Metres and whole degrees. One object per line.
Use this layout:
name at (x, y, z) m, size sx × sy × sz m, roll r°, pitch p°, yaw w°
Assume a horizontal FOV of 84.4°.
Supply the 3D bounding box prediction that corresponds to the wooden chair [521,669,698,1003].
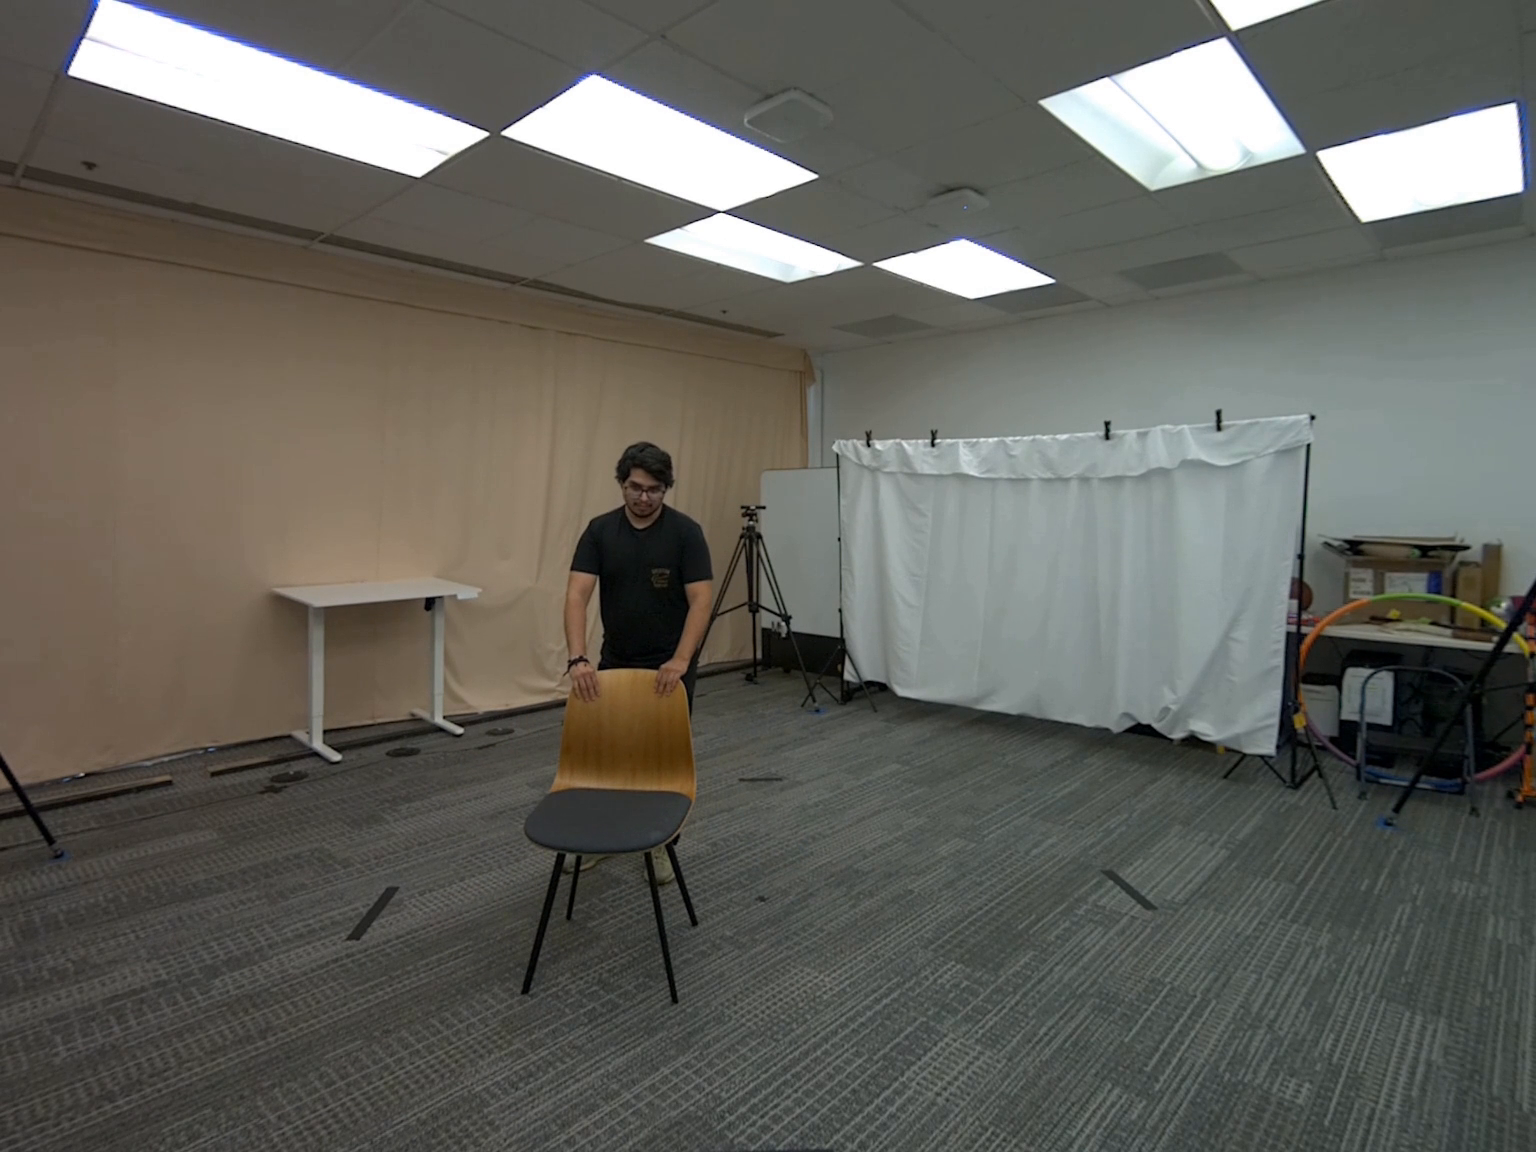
wooden chair at (-0.459, 0.752, 2.566) m, size 0.481 × 0.878 × 0.520 m, roll 0°, pitch -1°, yaw 4°
